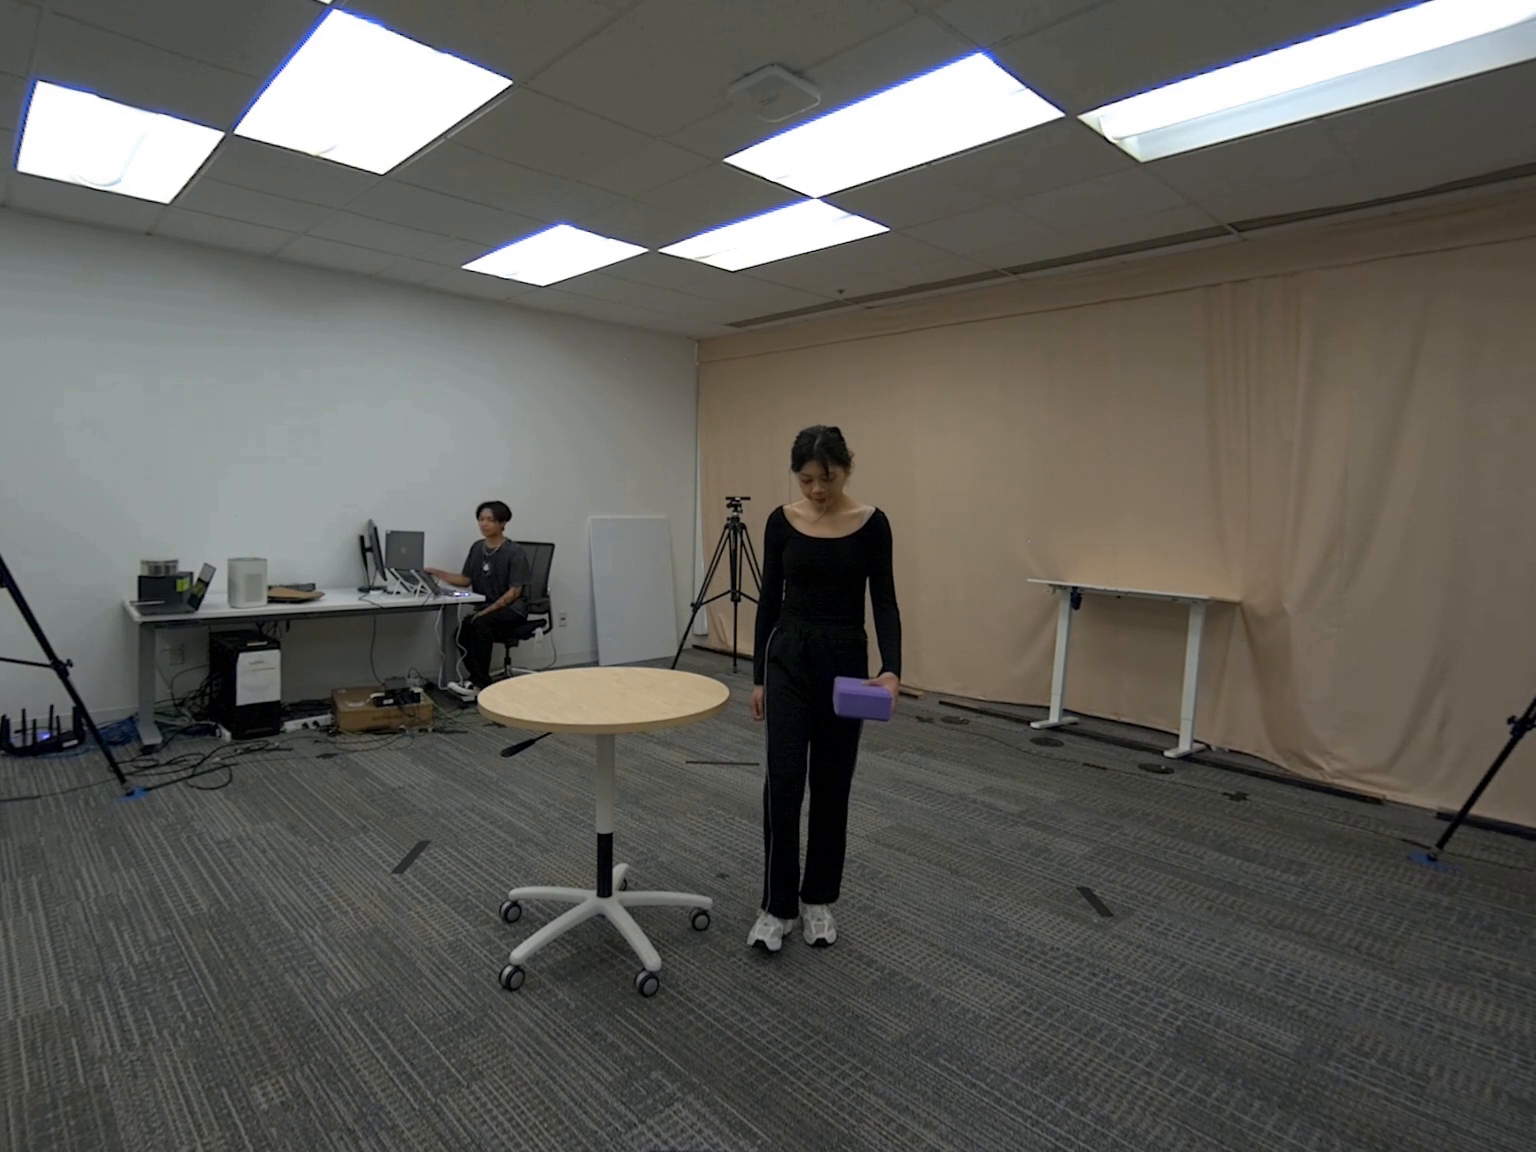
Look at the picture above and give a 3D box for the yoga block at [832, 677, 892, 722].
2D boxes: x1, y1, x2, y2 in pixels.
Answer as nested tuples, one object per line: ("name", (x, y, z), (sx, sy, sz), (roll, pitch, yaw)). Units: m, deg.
("yoga block", (0.262, 0.350, 2.368), (0.150, 0.076, 0.228), (6, 3, 7))
